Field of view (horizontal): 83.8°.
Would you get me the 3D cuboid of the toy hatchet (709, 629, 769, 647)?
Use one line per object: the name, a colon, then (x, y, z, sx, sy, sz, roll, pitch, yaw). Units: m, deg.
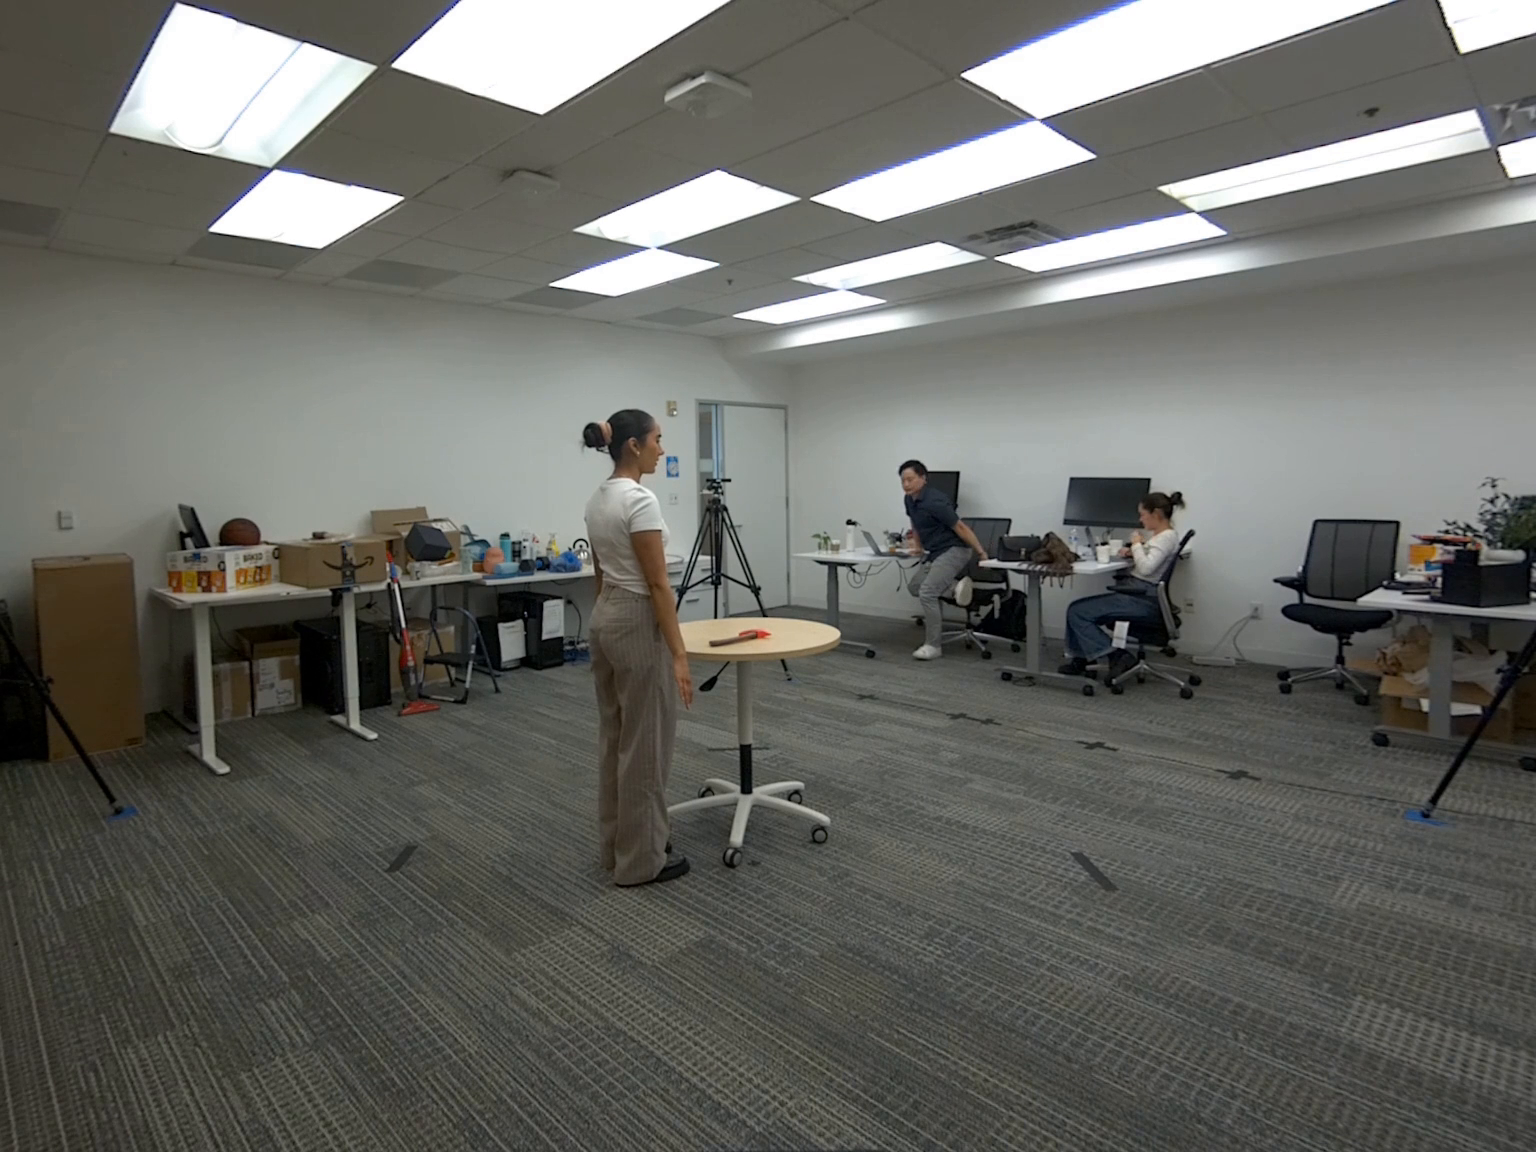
toy hatchet: (-0.124, 0.234, 3.252, 0.263, 0.029, 0.135, -7, 9, -35)
